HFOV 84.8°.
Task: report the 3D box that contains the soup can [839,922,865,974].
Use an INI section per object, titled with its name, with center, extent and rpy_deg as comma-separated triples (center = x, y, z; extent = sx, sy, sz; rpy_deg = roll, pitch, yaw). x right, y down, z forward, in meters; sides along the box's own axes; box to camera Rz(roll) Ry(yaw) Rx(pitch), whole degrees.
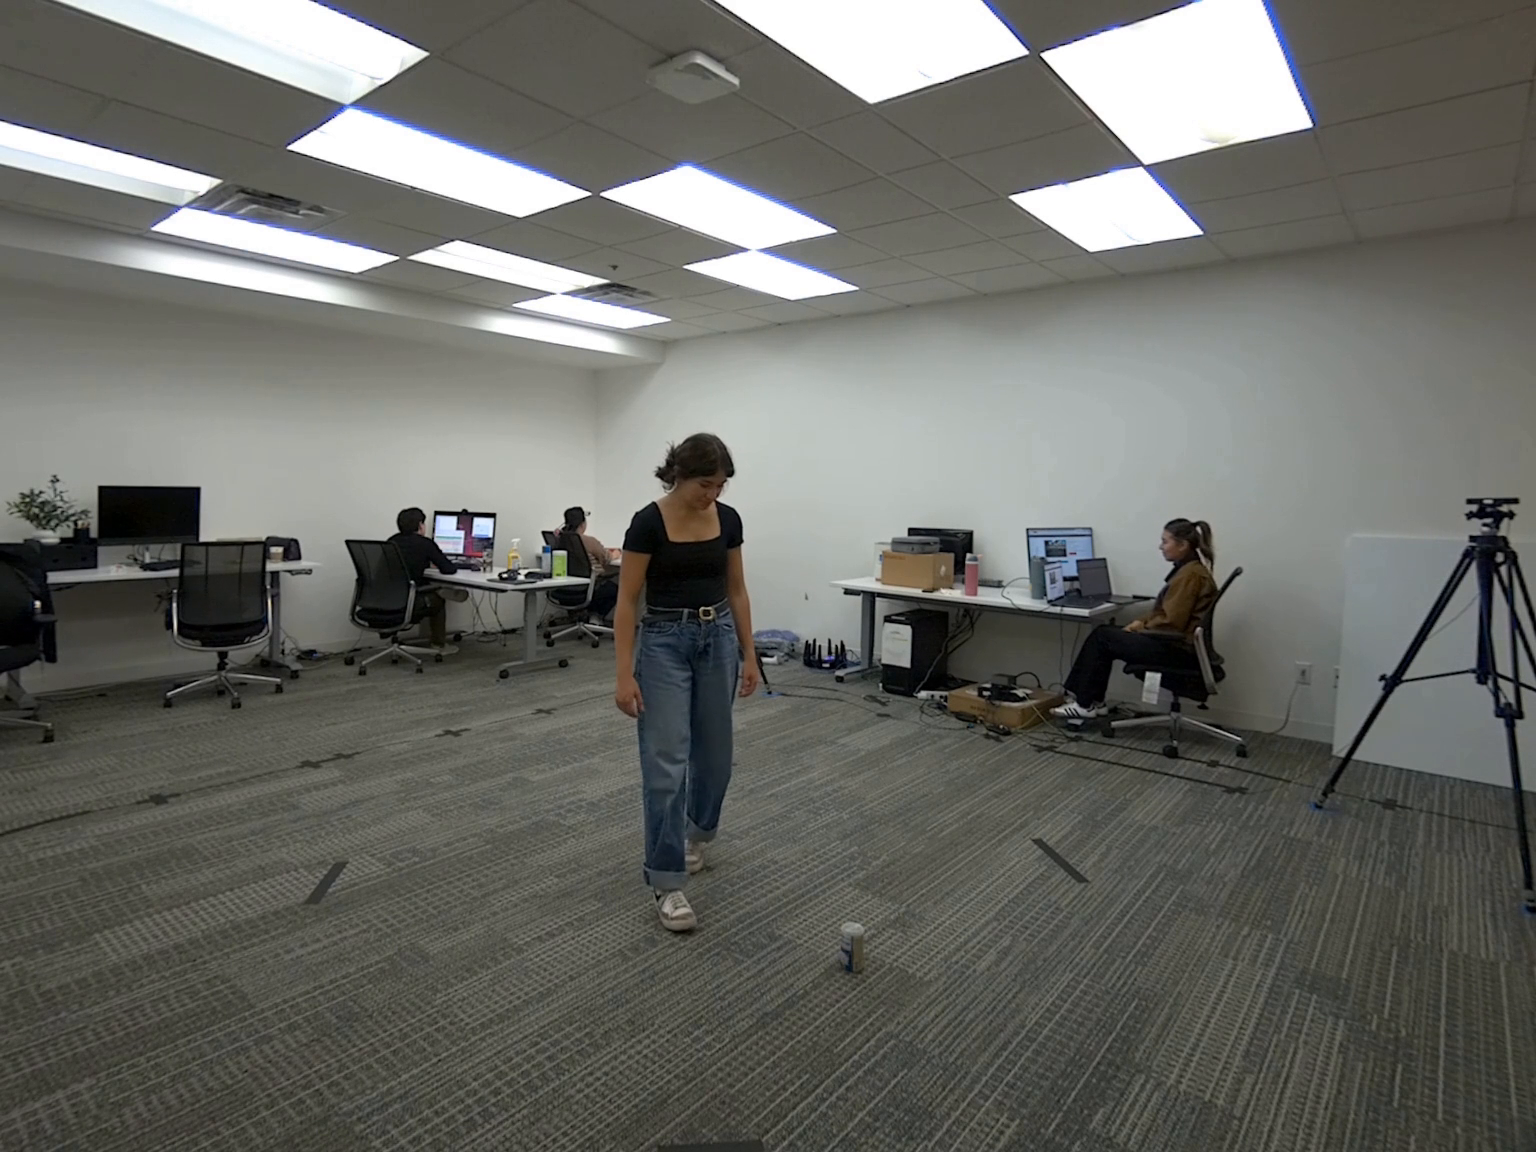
[soup can]
center = 0.240, 1.078, 2.476
extent = 0.067, 0.121, 0.067
rpy_deg = 1, 4, -2
